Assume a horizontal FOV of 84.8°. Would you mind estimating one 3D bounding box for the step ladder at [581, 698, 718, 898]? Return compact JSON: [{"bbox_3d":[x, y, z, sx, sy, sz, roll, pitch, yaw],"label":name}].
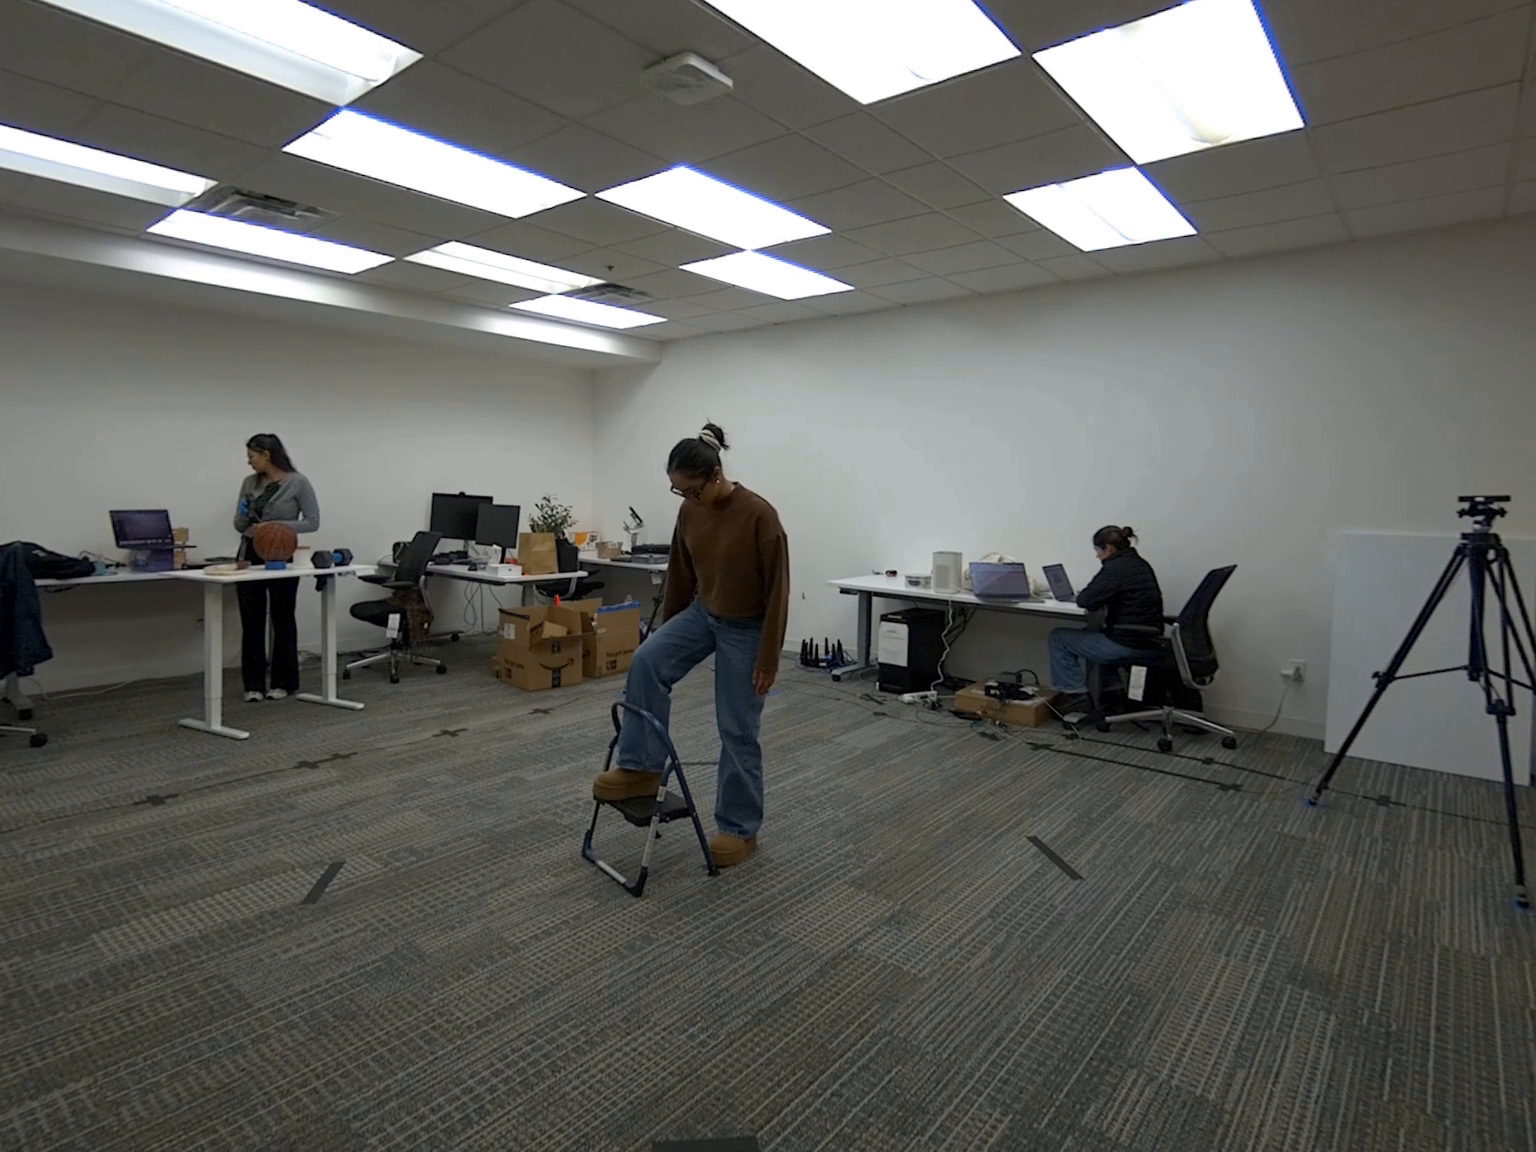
[{"bbox_3d":[-0.444,0.759,3.118,0.339,0.604,0.445,-2,5,-39],"label":"step ladder"}]
